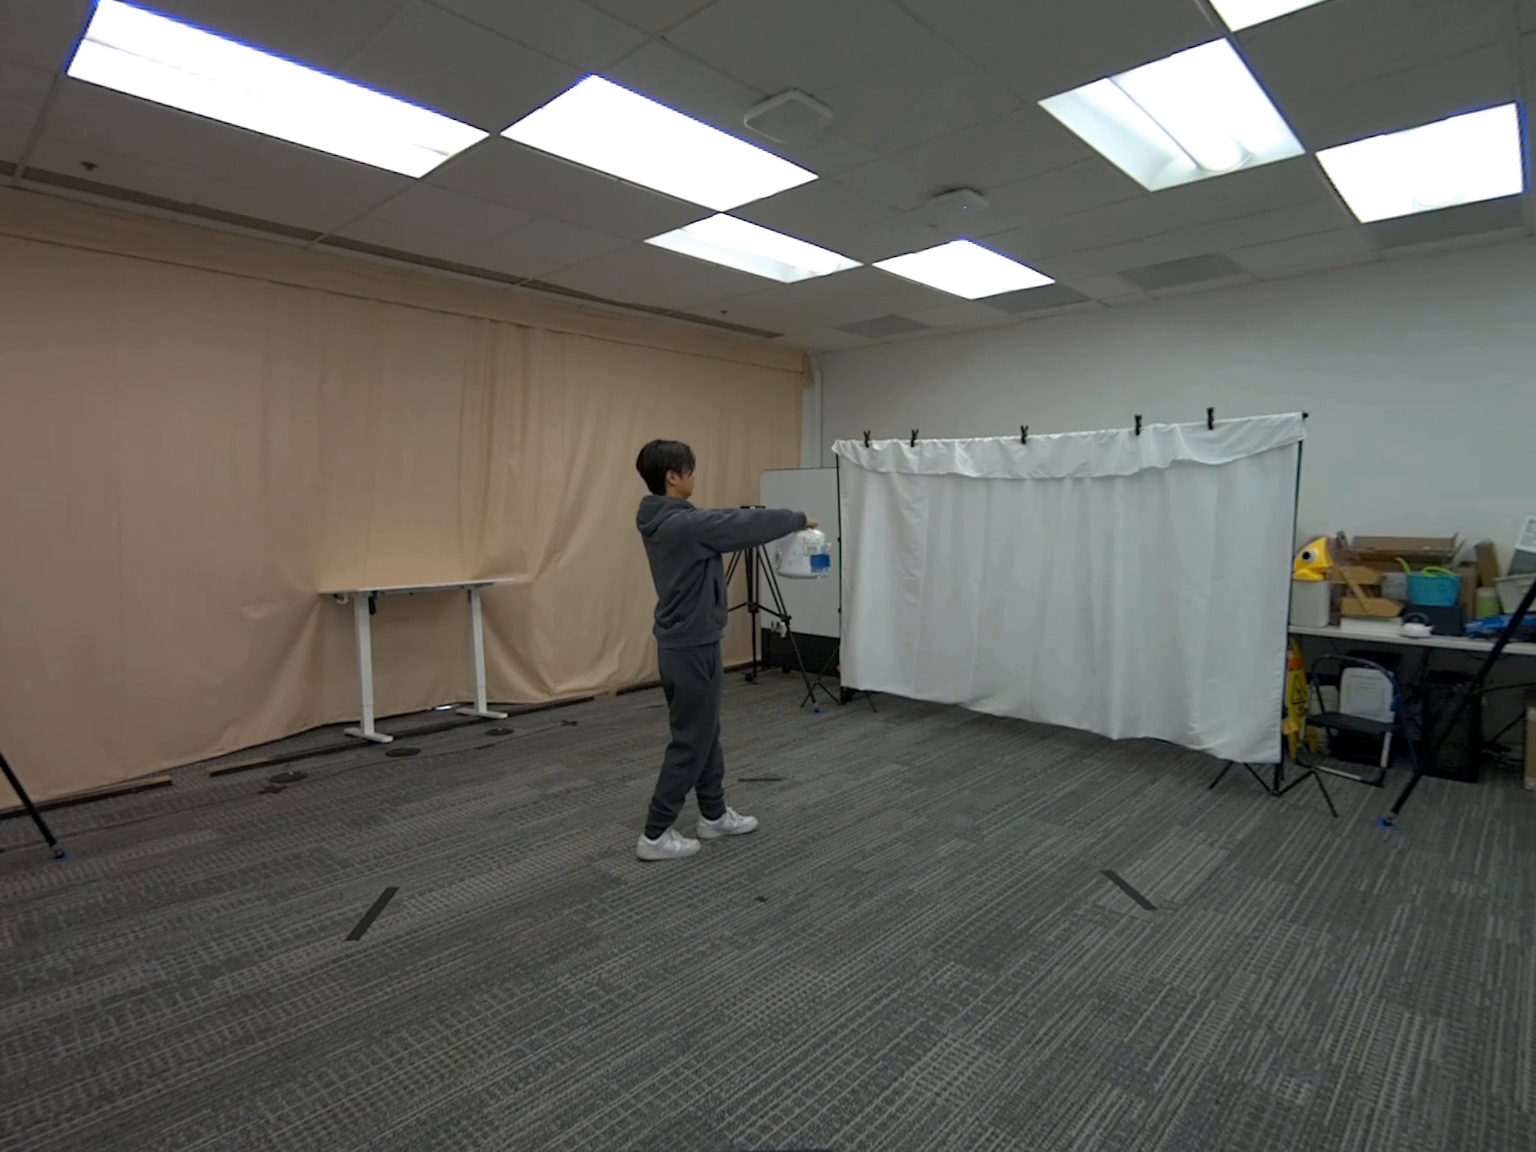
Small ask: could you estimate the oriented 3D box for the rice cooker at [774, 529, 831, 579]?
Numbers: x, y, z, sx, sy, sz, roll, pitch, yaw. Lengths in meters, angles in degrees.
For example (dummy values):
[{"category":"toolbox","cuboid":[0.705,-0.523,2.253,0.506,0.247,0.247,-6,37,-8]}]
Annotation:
[{"category":"rice cooker","cuboid":[0.137,-0.110,3.608,0.212,0.232,0.226,2,4,-25]}]
